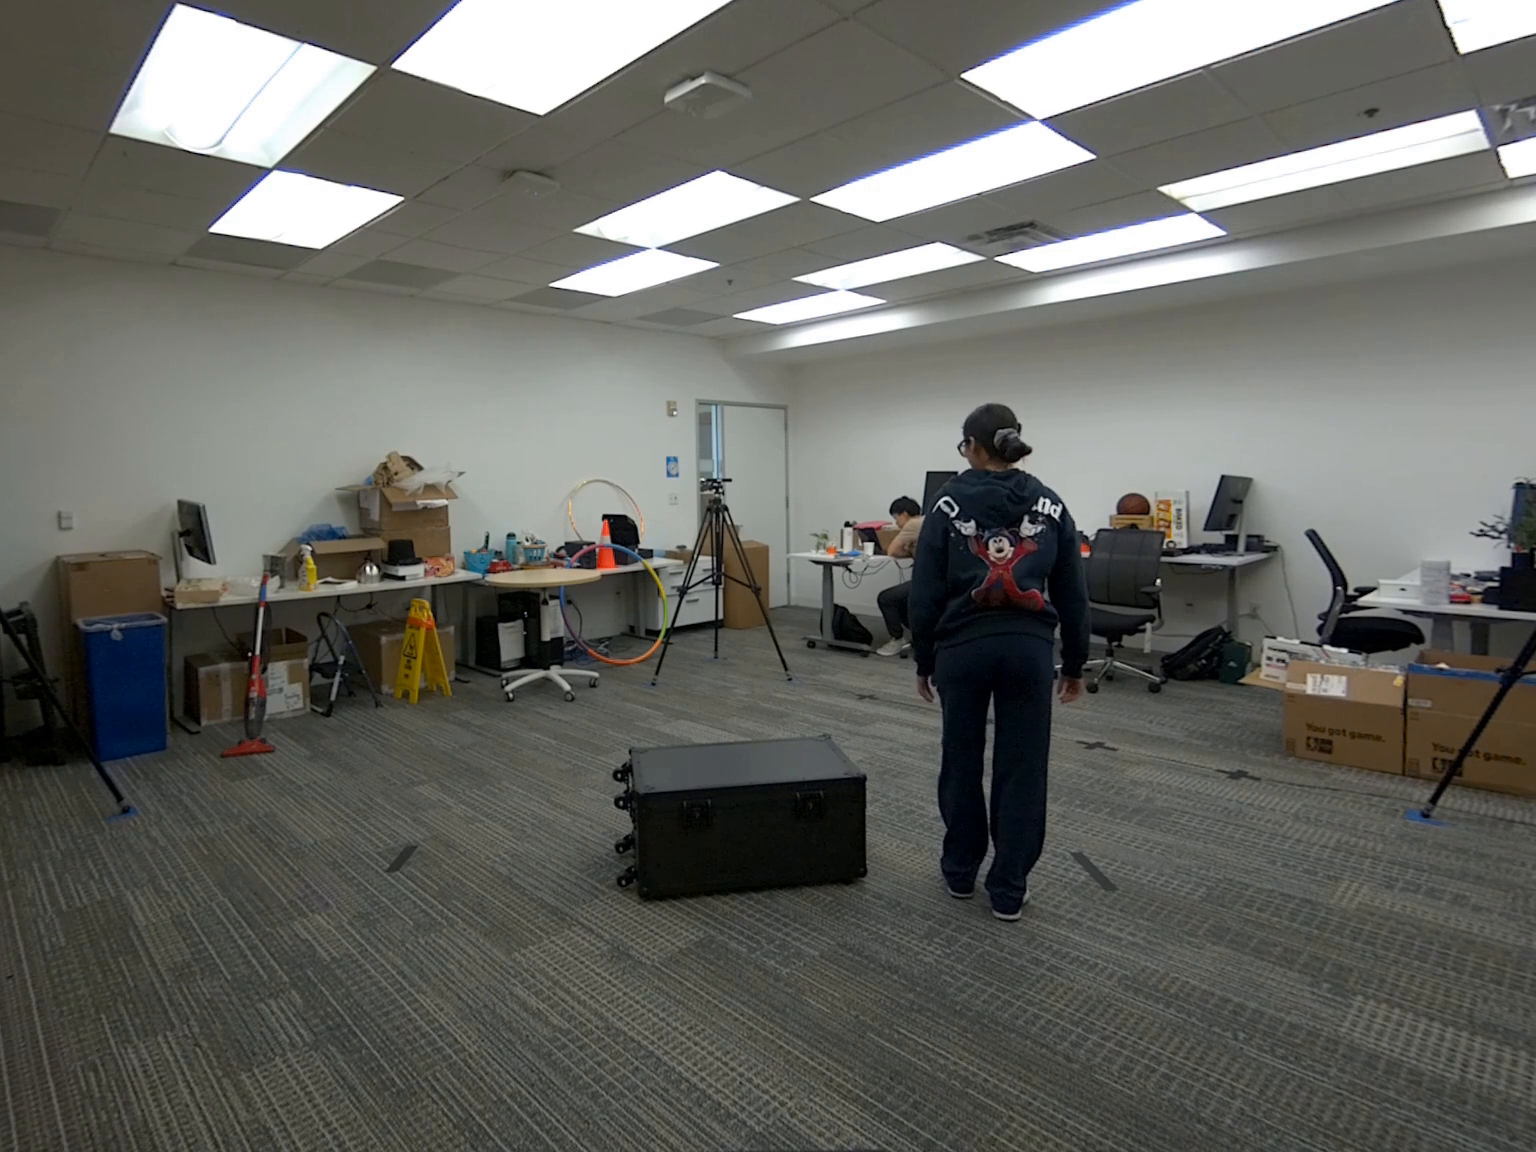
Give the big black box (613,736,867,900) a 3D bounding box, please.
[{"bbox_3d":[-0.127,0.855,3.100,0.854,0.394,0.528,-2,6,-9],"label":"big black box"}]
